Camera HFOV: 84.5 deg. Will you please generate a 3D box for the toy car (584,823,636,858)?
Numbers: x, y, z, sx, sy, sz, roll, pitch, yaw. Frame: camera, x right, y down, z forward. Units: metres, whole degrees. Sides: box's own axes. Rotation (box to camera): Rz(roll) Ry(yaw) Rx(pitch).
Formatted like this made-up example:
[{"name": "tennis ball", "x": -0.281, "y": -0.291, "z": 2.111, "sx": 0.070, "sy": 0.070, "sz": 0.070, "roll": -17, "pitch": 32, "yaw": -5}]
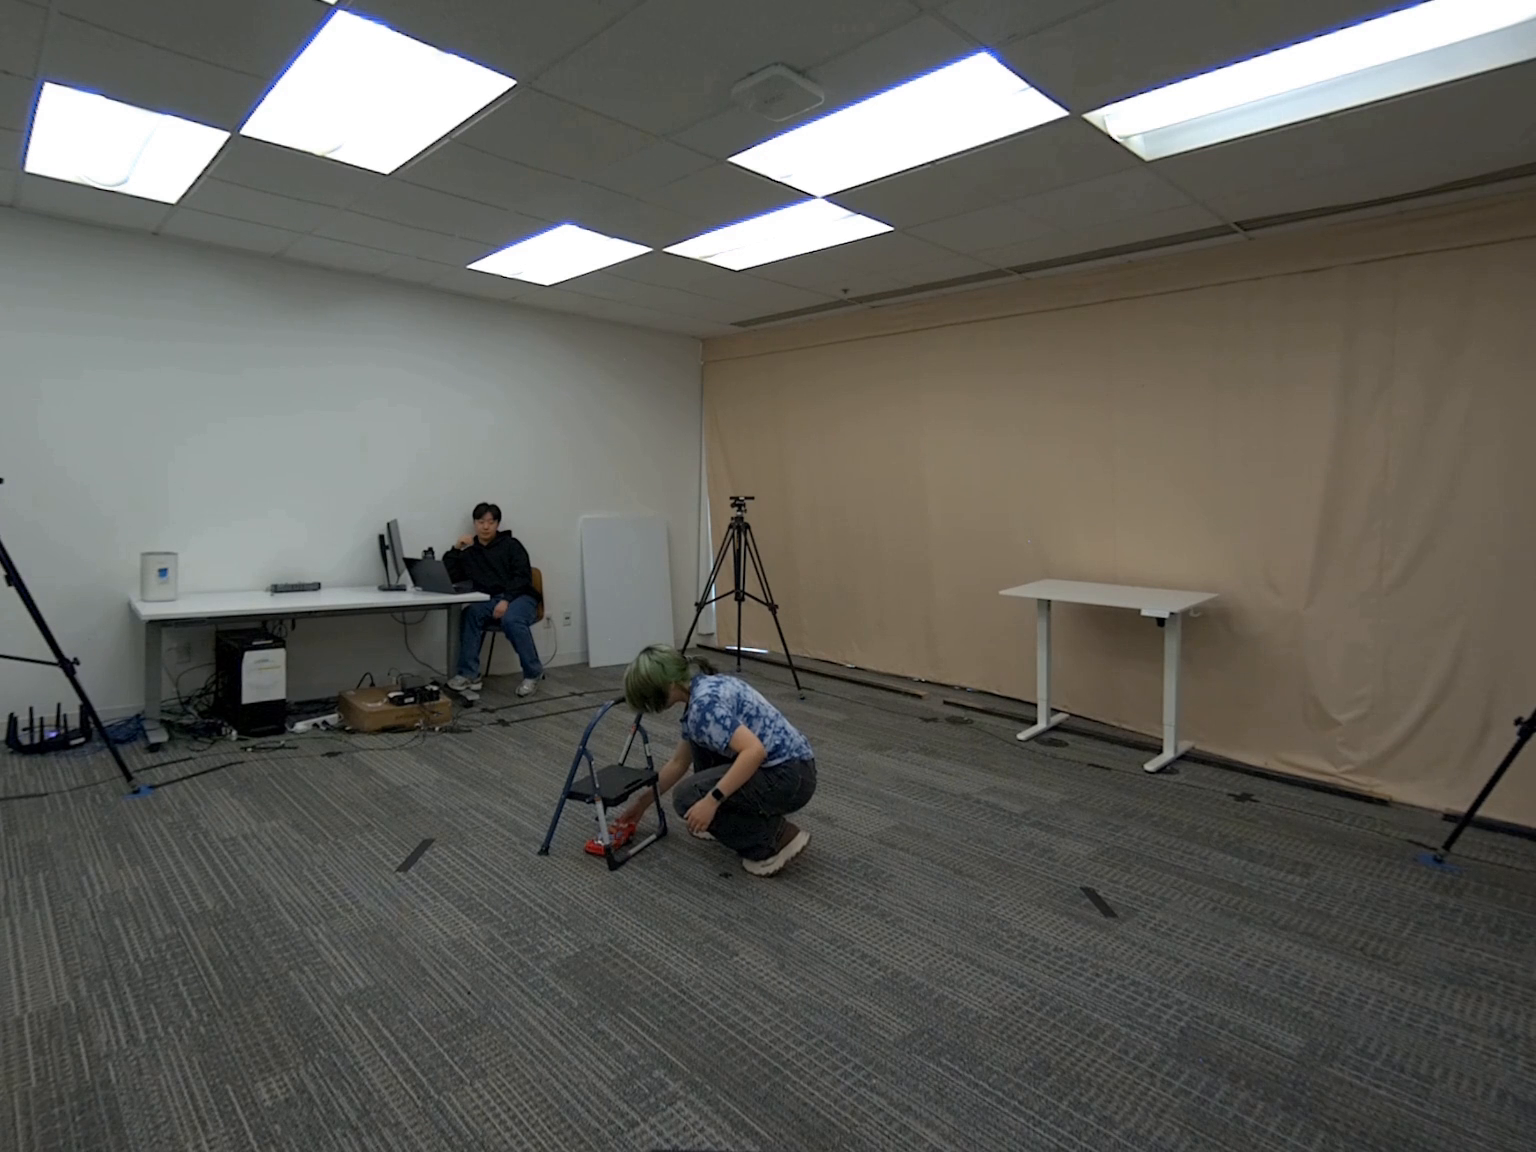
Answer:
[{"name": "toy car", "x": -0.620, "y": 1.036, "z": 3.330, "sx": 0.132, "sy": 0.082, "sz": 0.253, "roll": -2, "pitch": 16, "yaw": 22}]
